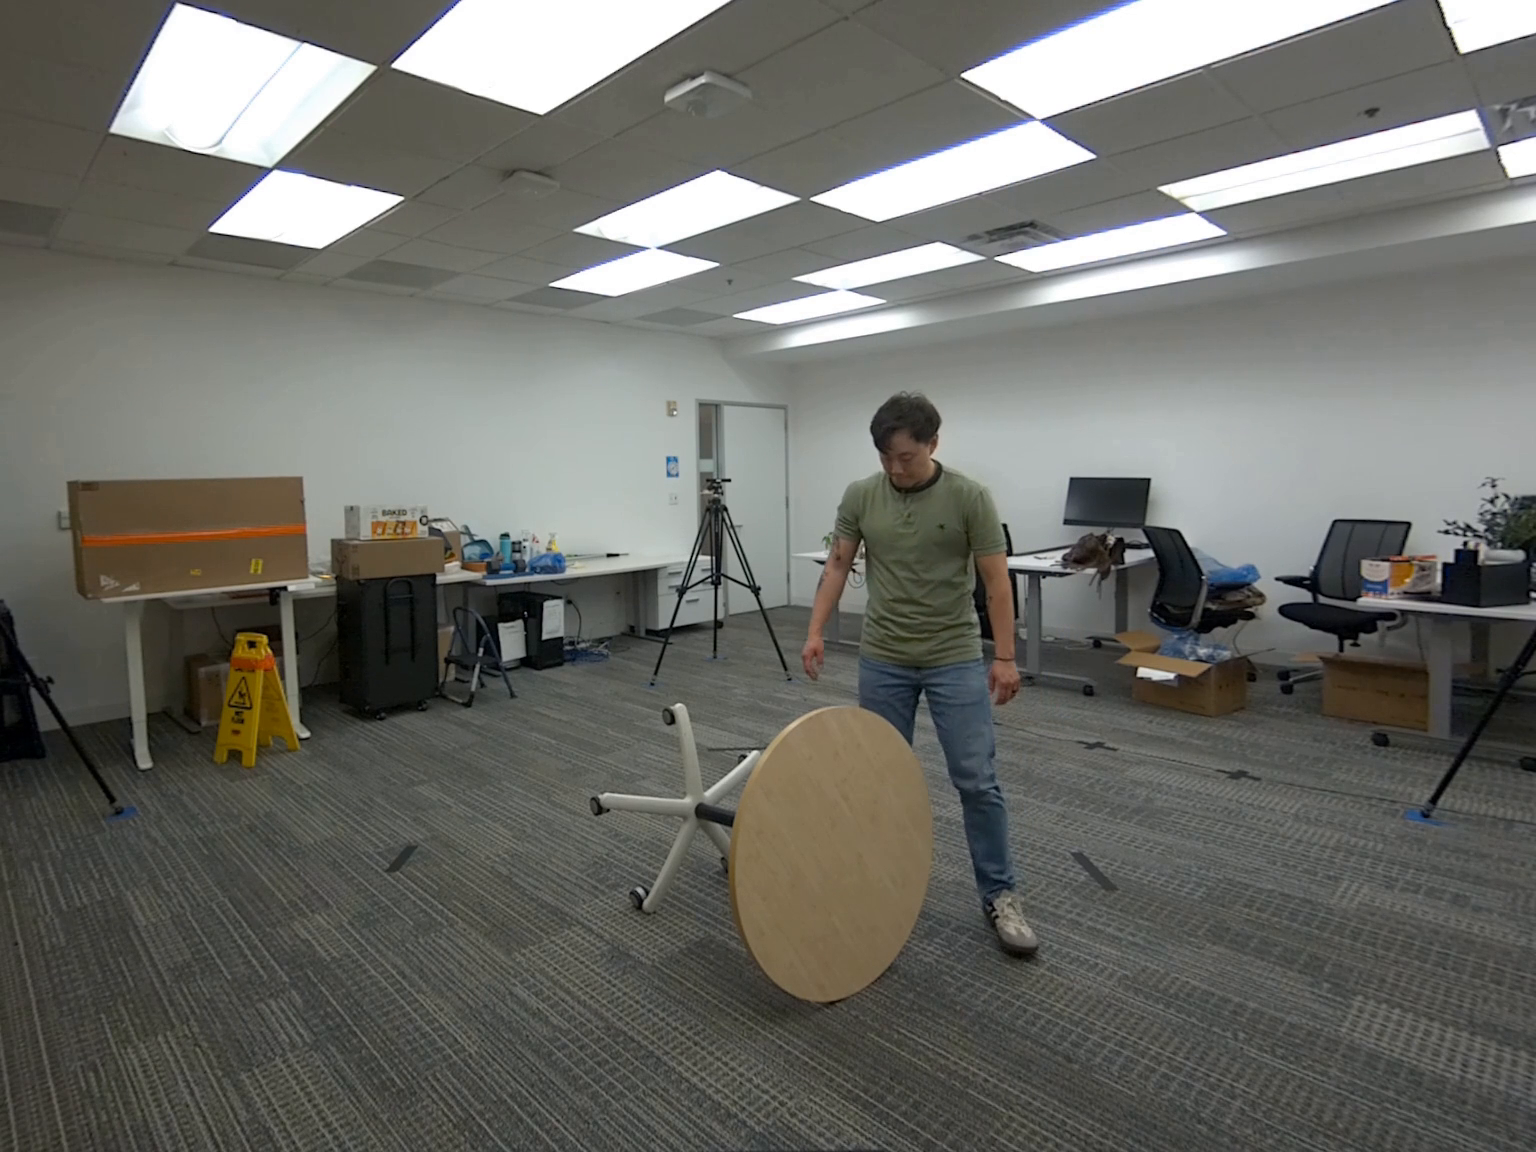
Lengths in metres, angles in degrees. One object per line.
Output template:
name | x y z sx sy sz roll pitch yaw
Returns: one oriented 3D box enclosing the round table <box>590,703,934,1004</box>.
round table | -0.049 0.765 2.650 0.744 0.765 0.814 -5 -1 -40
